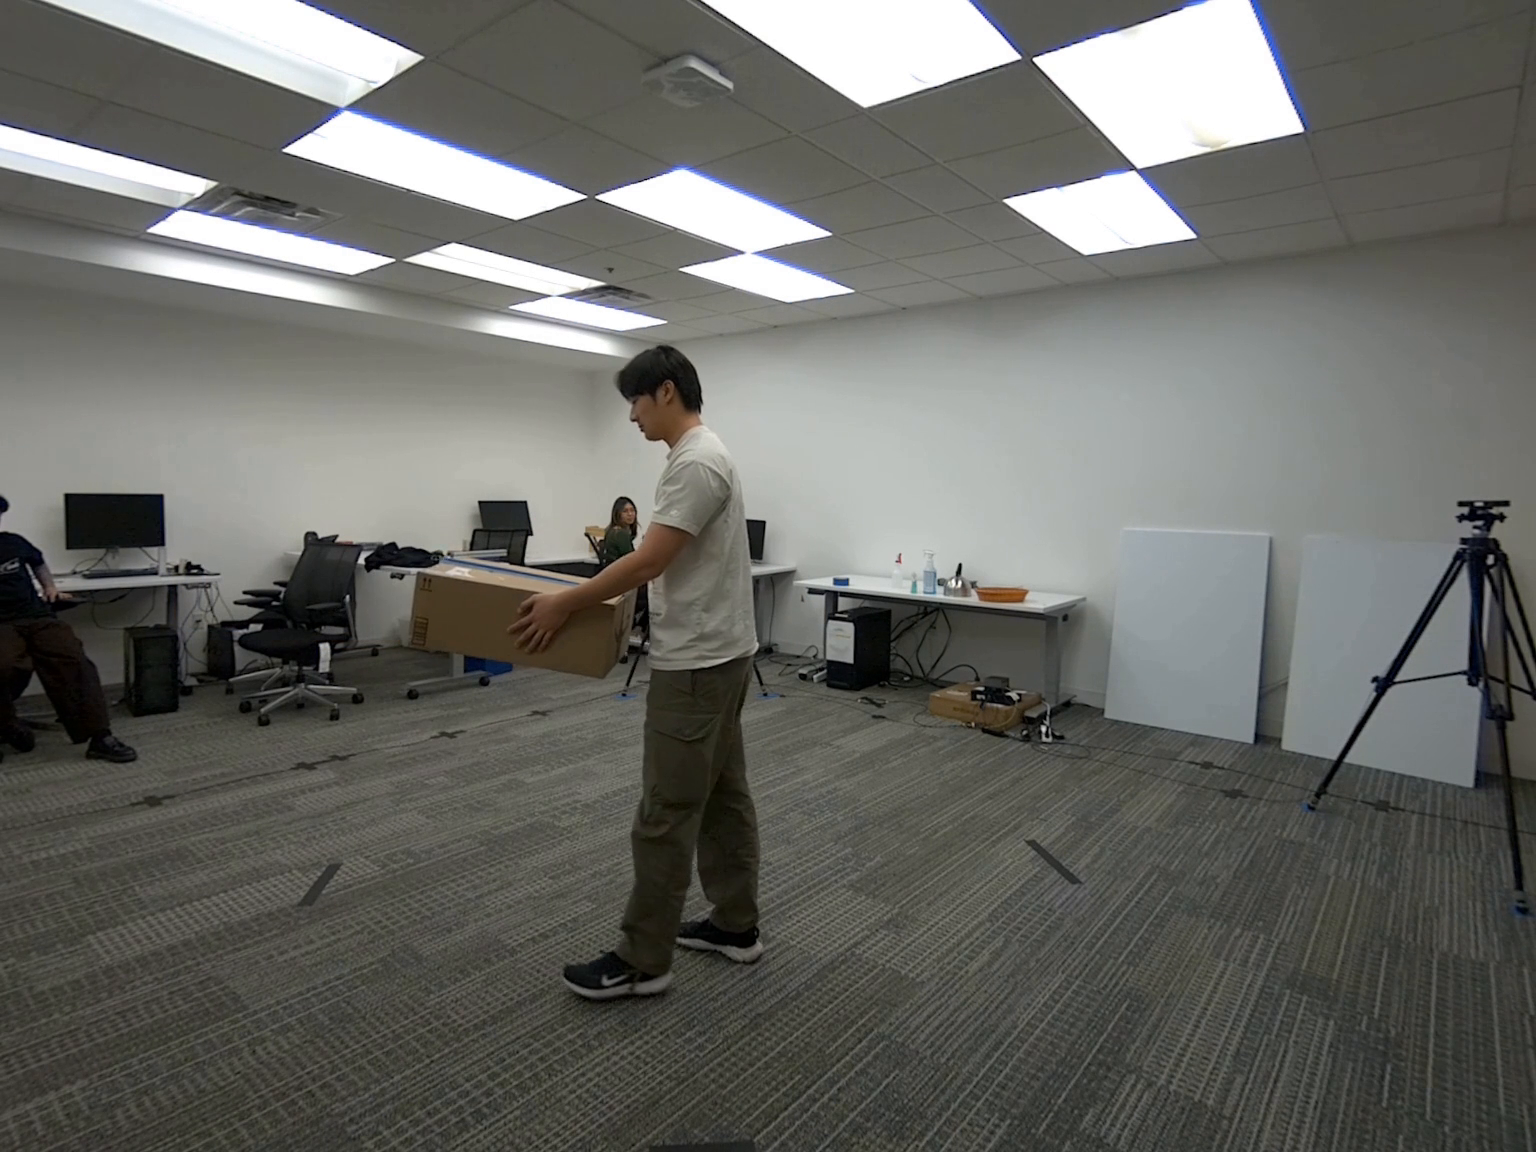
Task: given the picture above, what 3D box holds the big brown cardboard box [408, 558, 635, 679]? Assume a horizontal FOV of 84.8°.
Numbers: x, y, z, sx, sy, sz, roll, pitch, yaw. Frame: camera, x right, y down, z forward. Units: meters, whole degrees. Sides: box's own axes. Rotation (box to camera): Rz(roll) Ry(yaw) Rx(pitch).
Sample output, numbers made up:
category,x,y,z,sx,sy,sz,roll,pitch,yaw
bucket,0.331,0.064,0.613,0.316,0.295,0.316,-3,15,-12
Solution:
category,x,y,z,sx,sy,sz,roll,pitch,yaw
big brown cardboard box,-0.739,0.106,2.562,0.590,0.232,0.418,9,6,1
